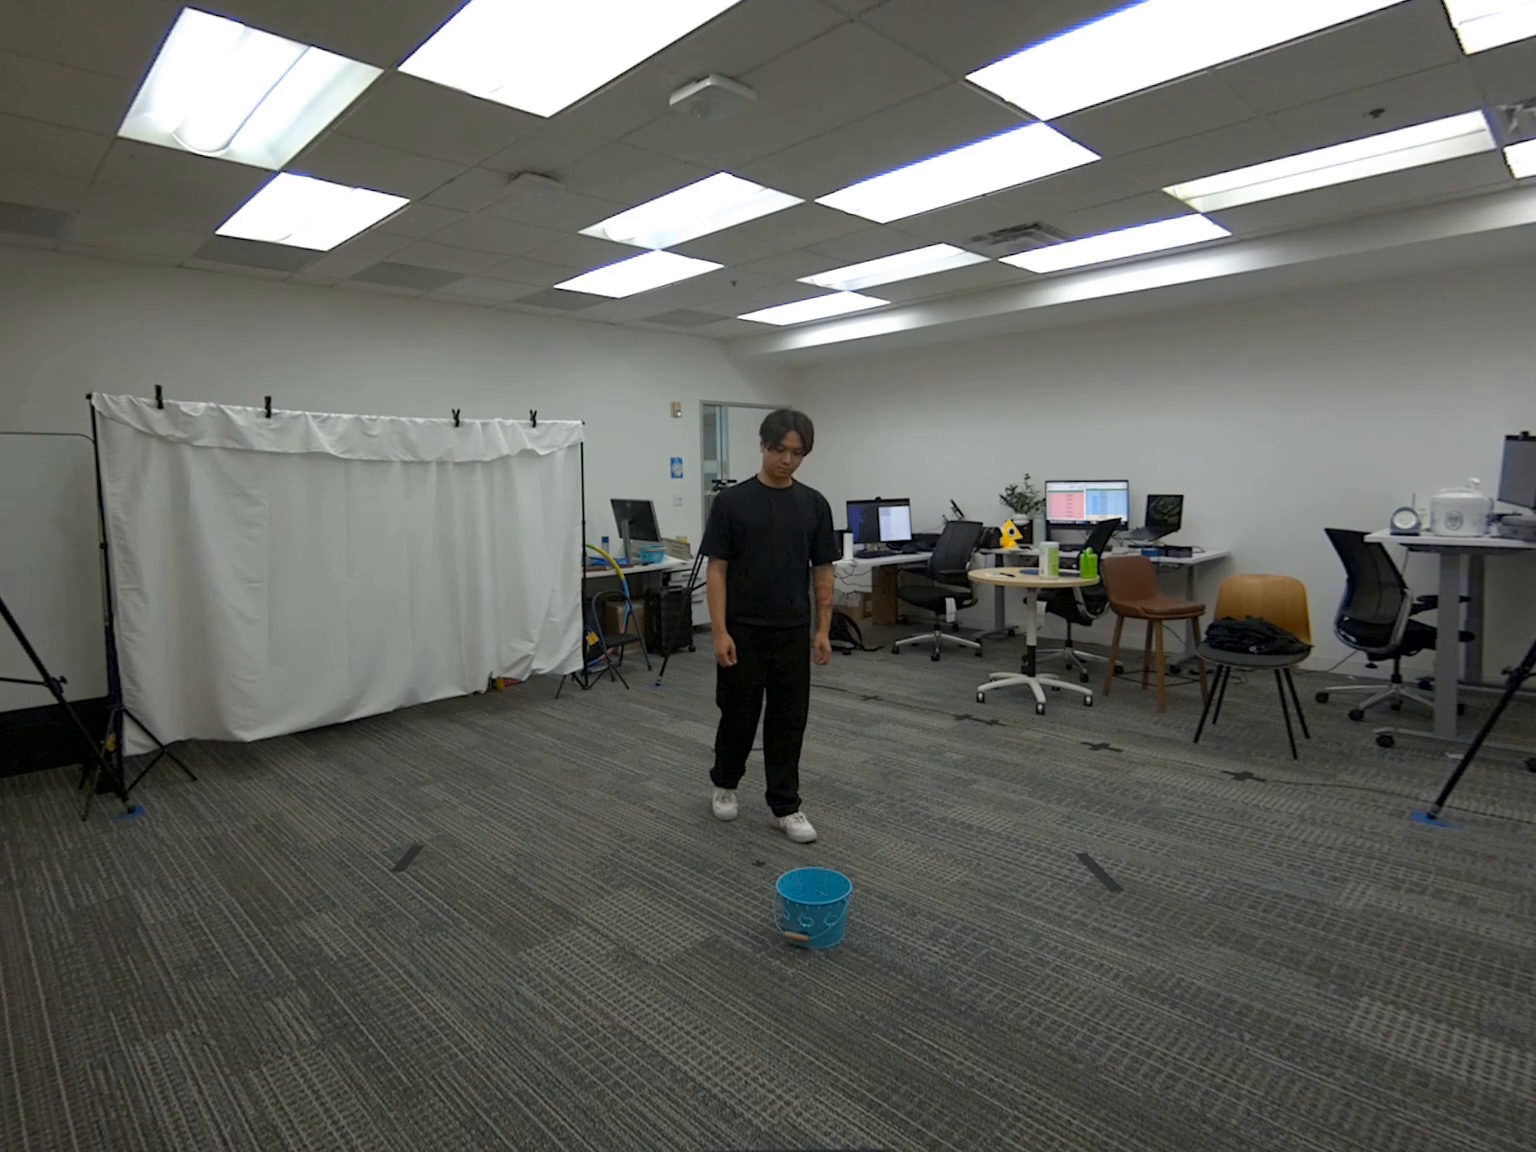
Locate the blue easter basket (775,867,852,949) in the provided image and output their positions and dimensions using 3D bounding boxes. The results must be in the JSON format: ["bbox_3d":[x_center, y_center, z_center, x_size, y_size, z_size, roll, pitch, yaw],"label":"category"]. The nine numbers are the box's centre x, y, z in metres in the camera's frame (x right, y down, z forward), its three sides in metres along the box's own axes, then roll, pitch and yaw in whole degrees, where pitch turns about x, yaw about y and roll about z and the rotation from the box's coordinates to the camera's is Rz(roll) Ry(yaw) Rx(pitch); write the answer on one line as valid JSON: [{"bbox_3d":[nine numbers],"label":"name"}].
[{"bbox_3d":[0.136,1.023,2.625,0.243,0.155,0.245,-1,6,-2],"label":"blue easter basket"}]
